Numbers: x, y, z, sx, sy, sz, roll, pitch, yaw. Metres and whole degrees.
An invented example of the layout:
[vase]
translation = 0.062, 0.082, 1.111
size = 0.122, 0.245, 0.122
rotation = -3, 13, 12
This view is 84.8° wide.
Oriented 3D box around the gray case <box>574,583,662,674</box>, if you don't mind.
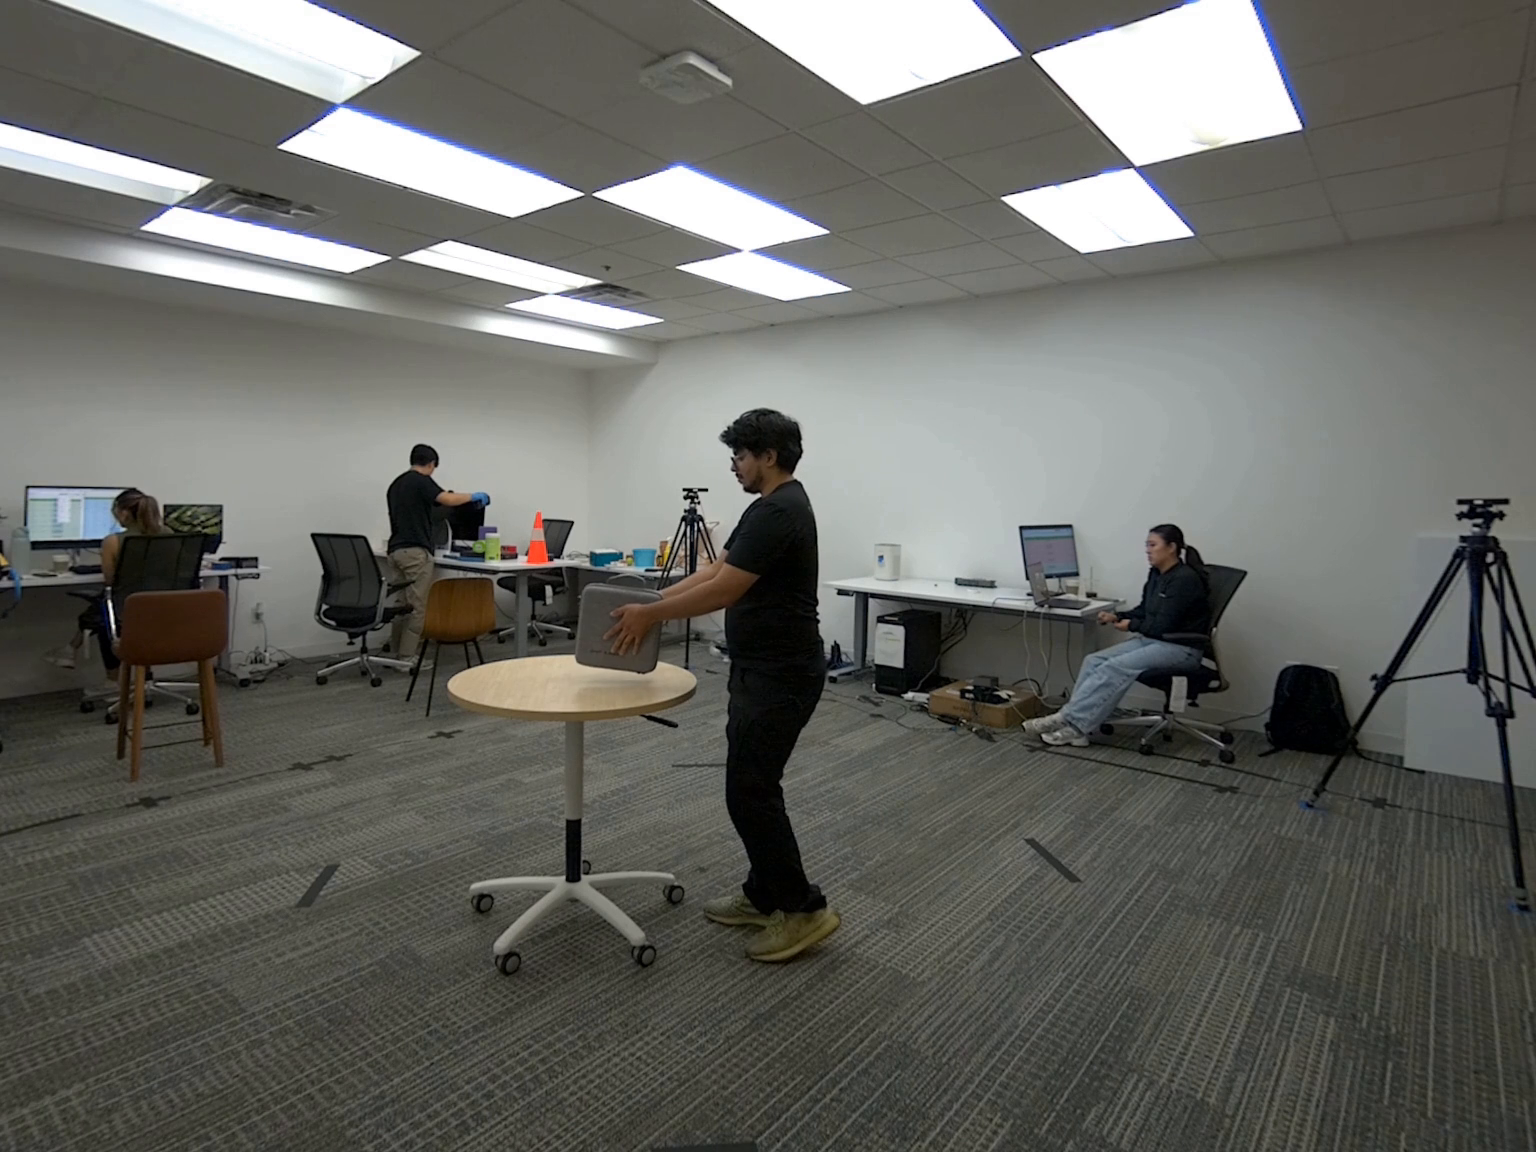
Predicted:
[gray case]
translation = -0.473, 0.154, 2.660
size = 0.257, 0.260, 0.105
rotation = 8, 4, -1
